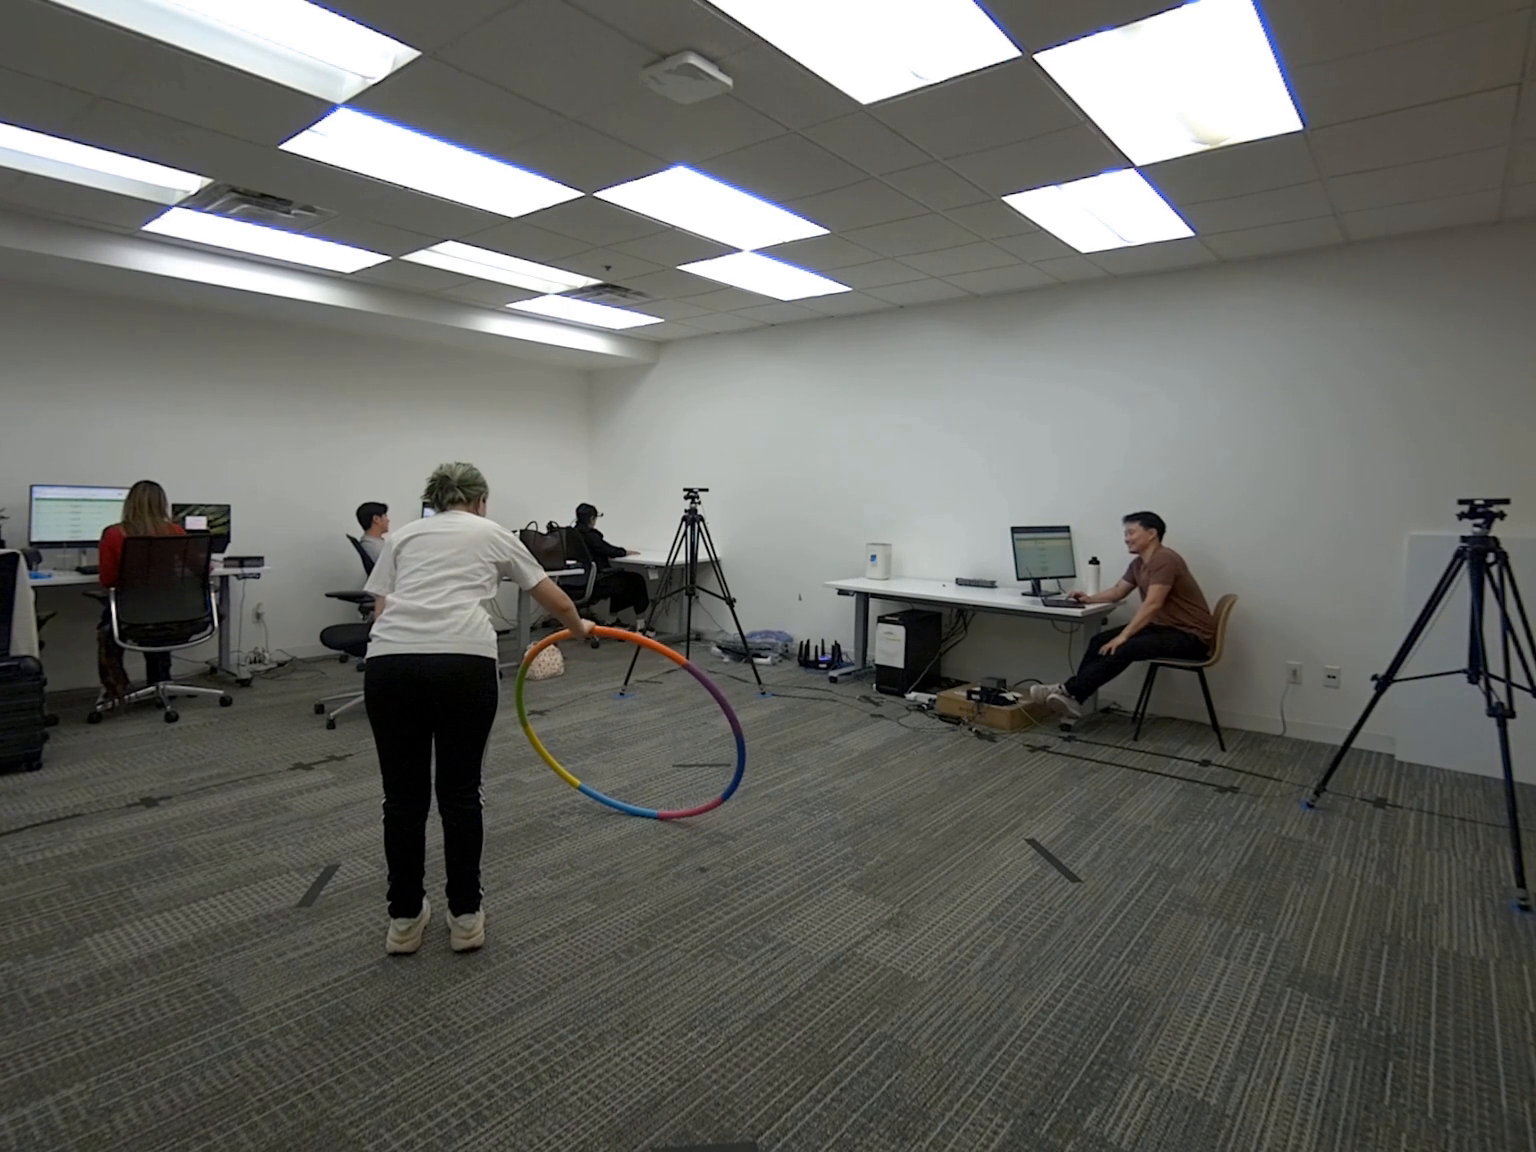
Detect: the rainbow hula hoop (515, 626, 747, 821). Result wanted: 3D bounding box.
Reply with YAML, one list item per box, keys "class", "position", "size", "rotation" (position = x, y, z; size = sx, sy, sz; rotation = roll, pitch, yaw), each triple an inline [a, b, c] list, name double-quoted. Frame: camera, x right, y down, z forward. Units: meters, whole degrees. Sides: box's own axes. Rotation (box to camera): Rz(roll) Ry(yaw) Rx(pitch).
- class: "rainbow hula hoop"
  position: [-0.573, 0.601, 3.360]
  size: [1.000, 0.950, 0.036]
  rotation: [3, 32, 20]
